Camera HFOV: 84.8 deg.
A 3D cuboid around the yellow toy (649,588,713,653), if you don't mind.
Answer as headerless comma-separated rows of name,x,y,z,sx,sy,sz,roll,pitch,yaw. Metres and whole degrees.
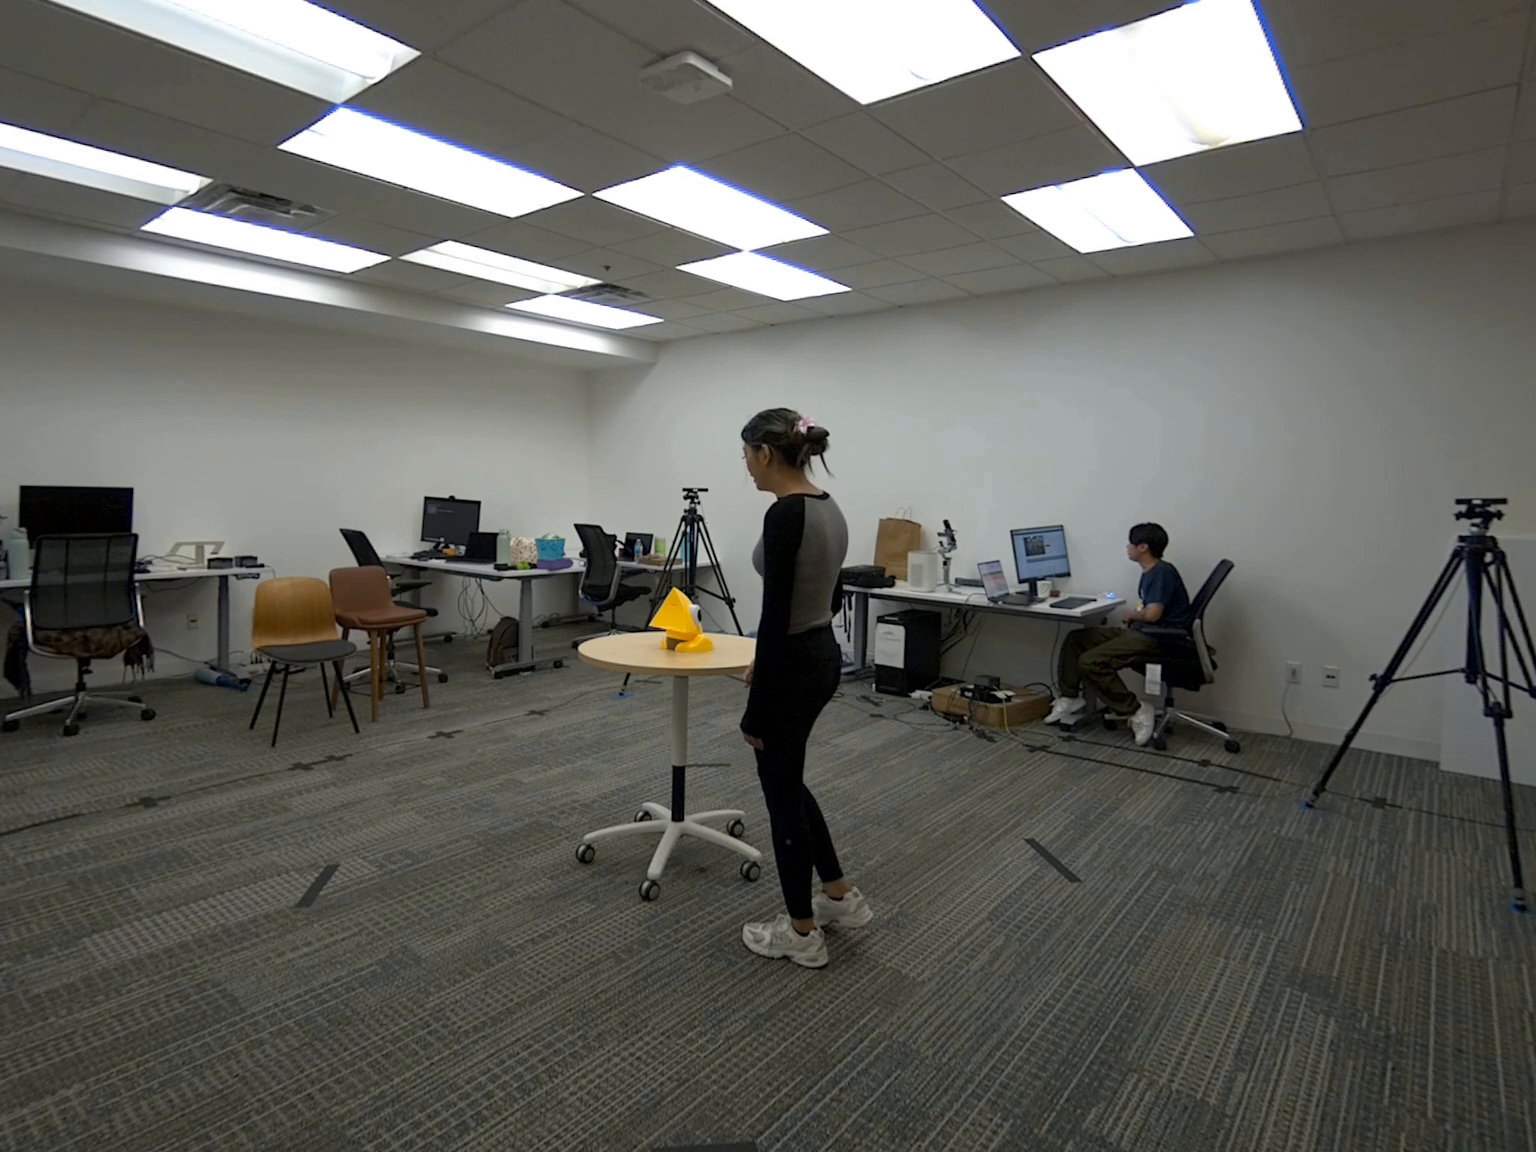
yellow toy,-0.321,0.153,3.187,0.212,0.230,0.187,4,4,43
